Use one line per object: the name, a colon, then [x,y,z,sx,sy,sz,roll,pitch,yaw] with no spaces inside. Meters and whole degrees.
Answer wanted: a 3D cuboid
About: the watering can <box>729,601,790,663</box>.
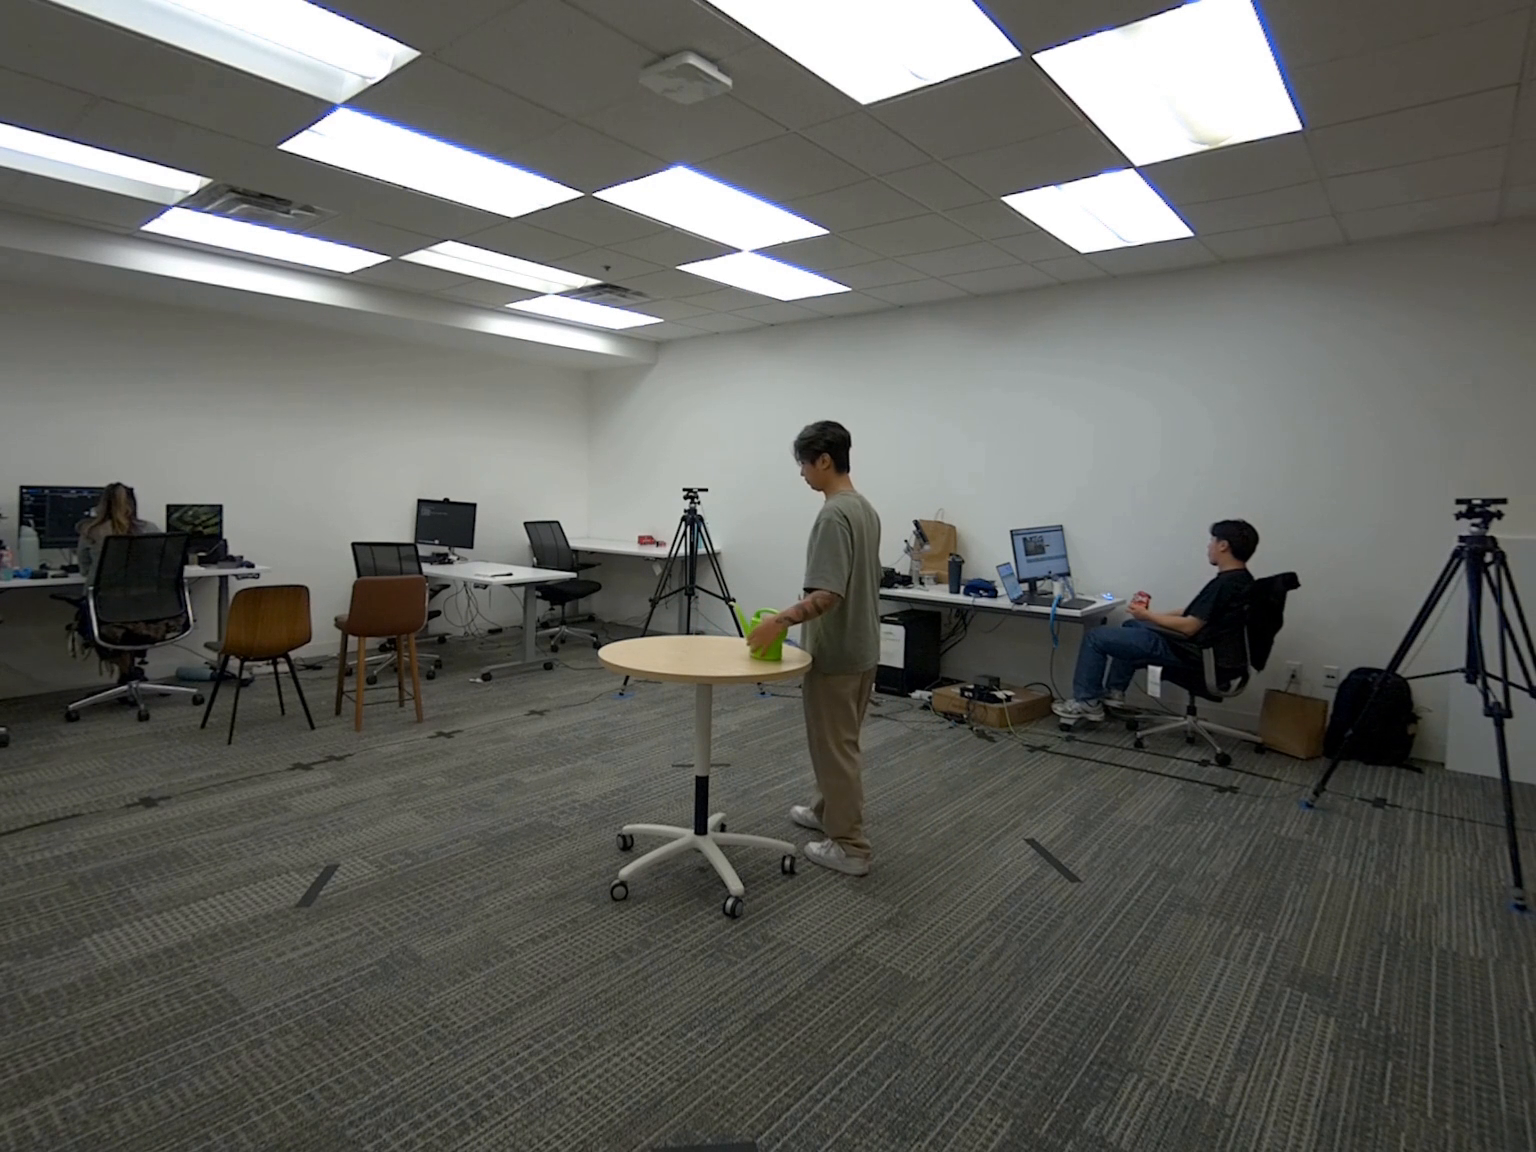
watering can: [-0.038,0.194,3.048,0.095,0.176,0.287,-3,7,-34]
